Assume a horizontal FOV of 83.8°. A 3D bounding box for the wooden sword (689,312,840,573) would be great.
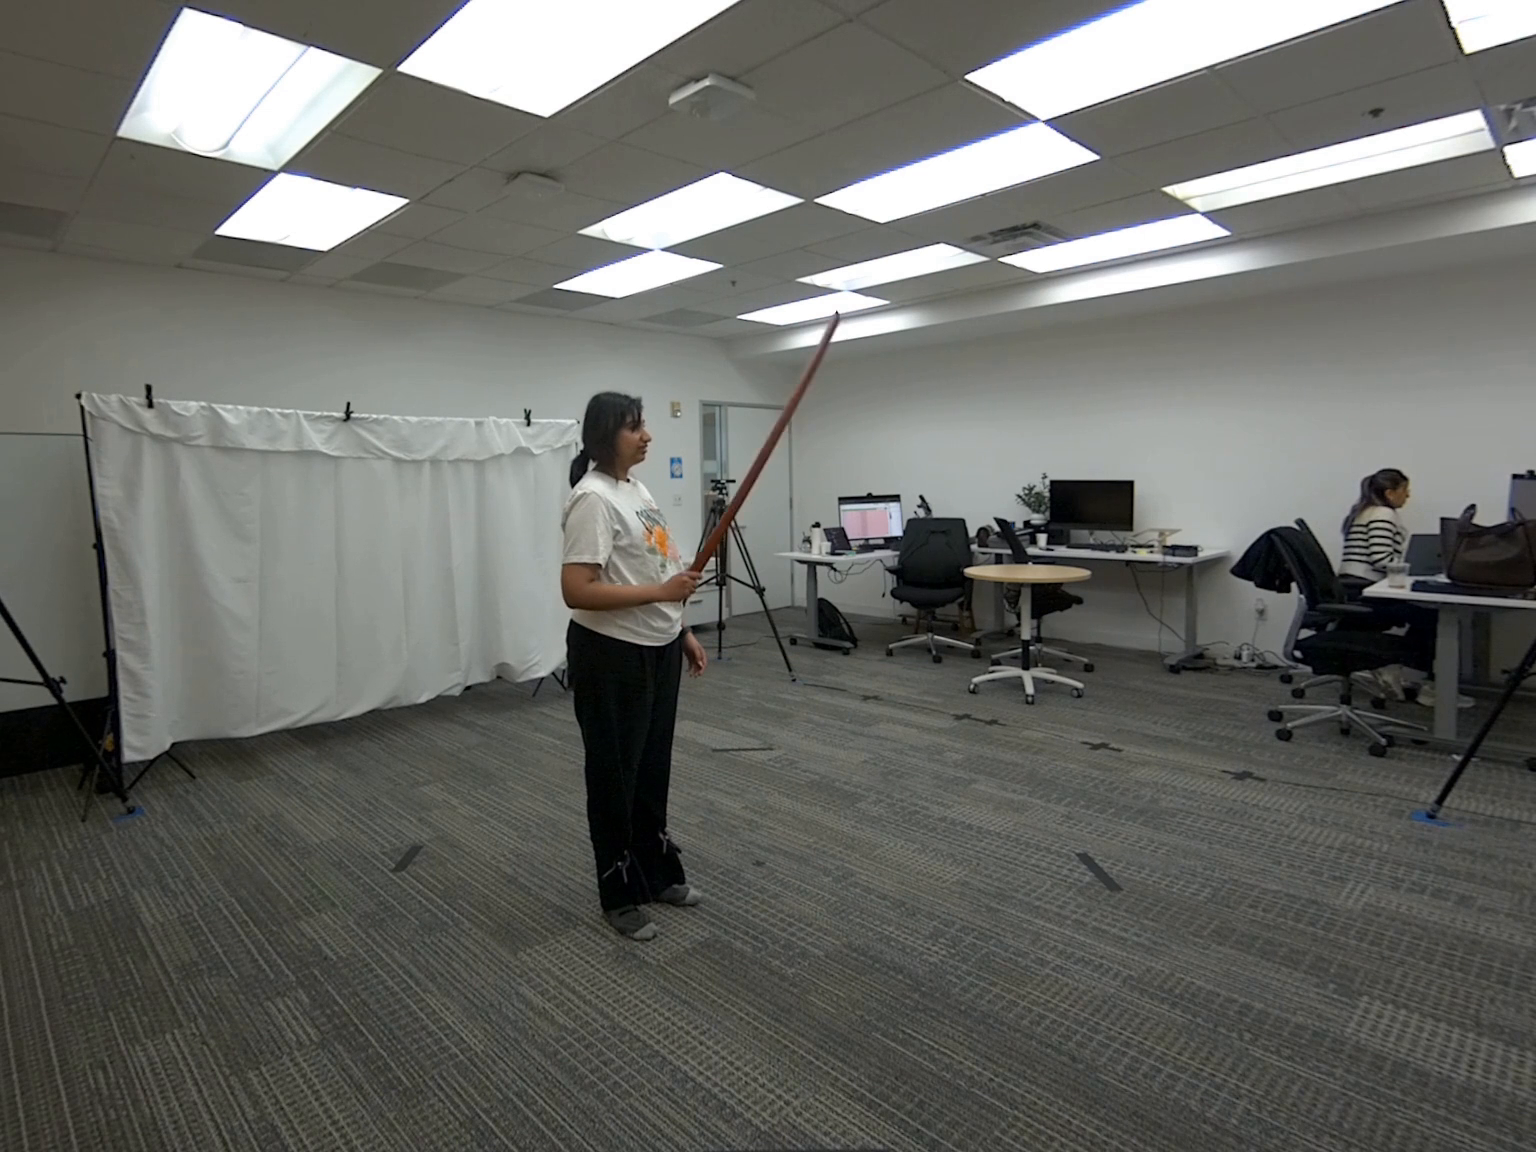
[{"bbox_3d":[-0.026,-0.362,2.619,0.024,1.026,0.050,28,-4,18],"label":"wooden sword"}]
